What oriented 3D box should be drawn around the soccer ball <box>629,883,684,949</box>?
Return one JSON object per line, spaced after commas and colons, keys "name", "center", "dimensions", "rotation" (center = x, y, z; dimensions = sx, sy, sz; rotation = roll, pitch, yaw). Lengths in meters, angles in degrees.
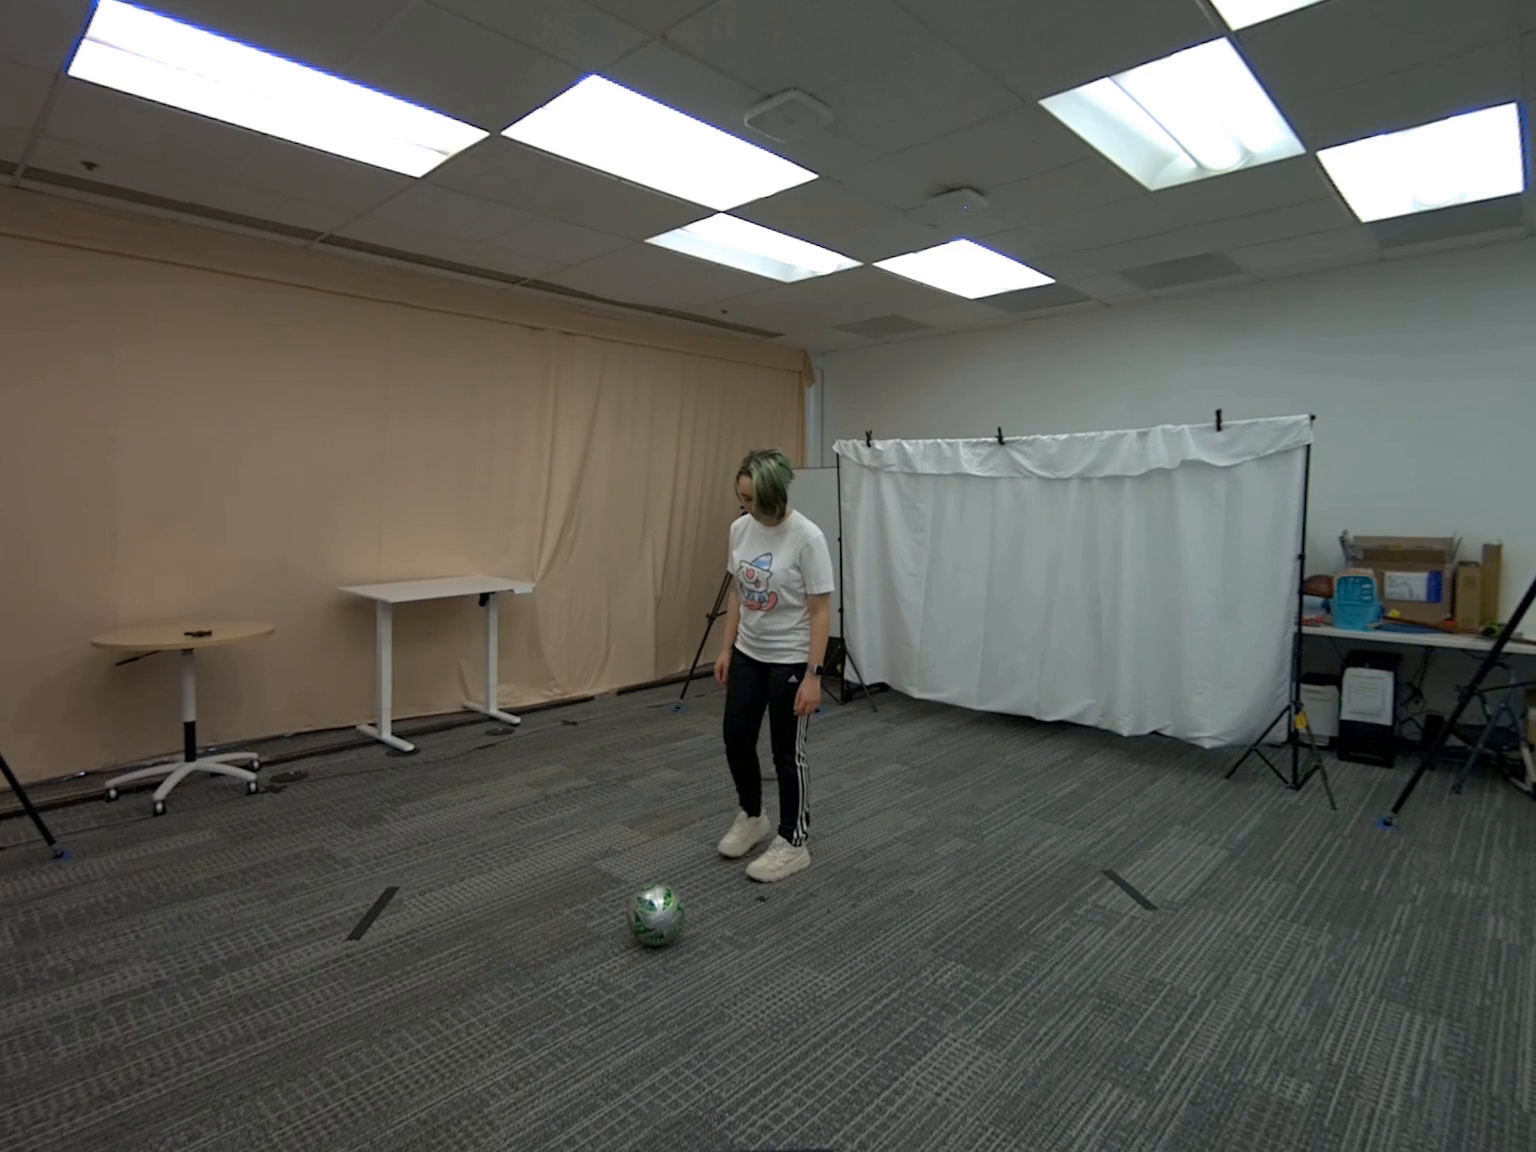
{"name": "soccer ball", "center": [-0.354, 1.076, 2.685], "dimensions": [0.187, 0.187, 0.188], "rotation": [0, 4, -2]}
